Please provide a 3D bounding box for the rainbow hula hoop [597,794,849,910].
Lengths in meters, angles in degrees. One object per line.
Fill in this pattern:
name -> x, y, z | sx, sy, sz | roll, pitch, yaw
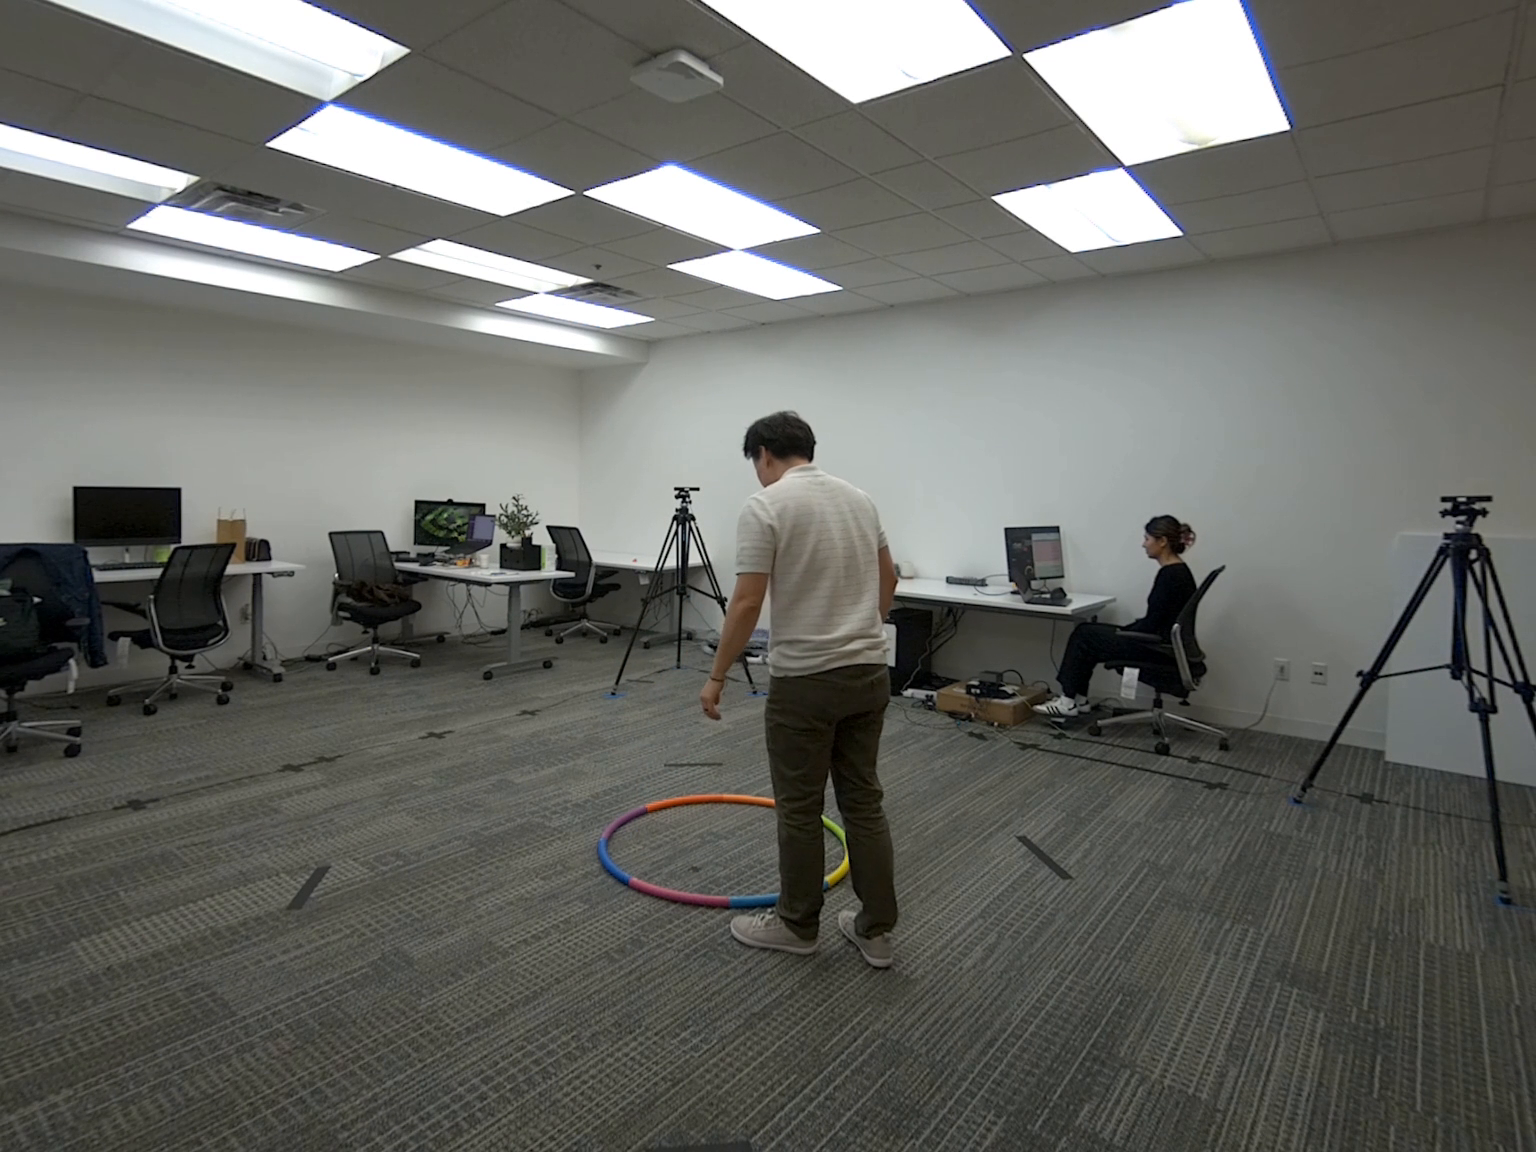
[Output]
rainbow hula hoop -> -0.175, 1.020, 3.295 | 0.978, 0.035, 0.984 | 1, 6, -2
